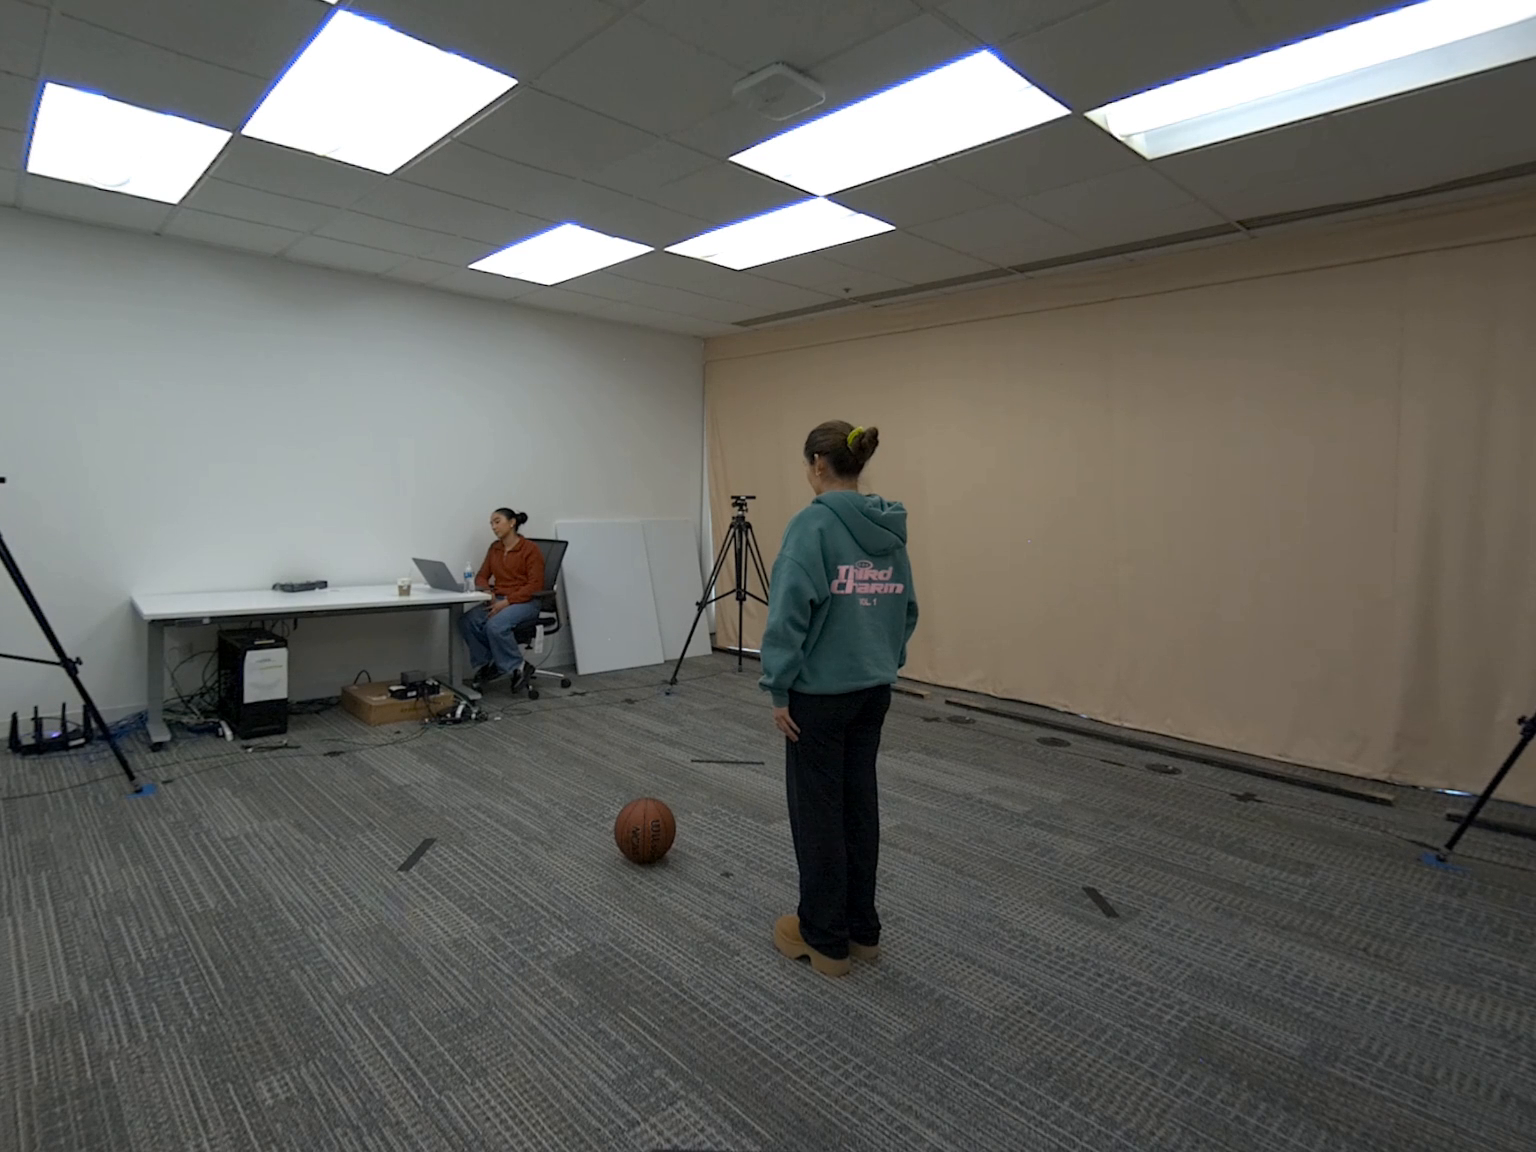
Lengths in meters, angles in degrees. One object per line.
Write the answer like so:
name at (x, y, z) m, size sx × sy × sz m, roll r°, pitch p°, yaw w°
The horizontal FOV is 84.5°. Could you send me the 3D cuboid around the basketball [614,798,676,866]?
basketball at (-0.476, 0.965, 3.210) m, size 0.236 × 0.235 × 0.237 m, roll 1°, pitch 4°, yaw -1°
